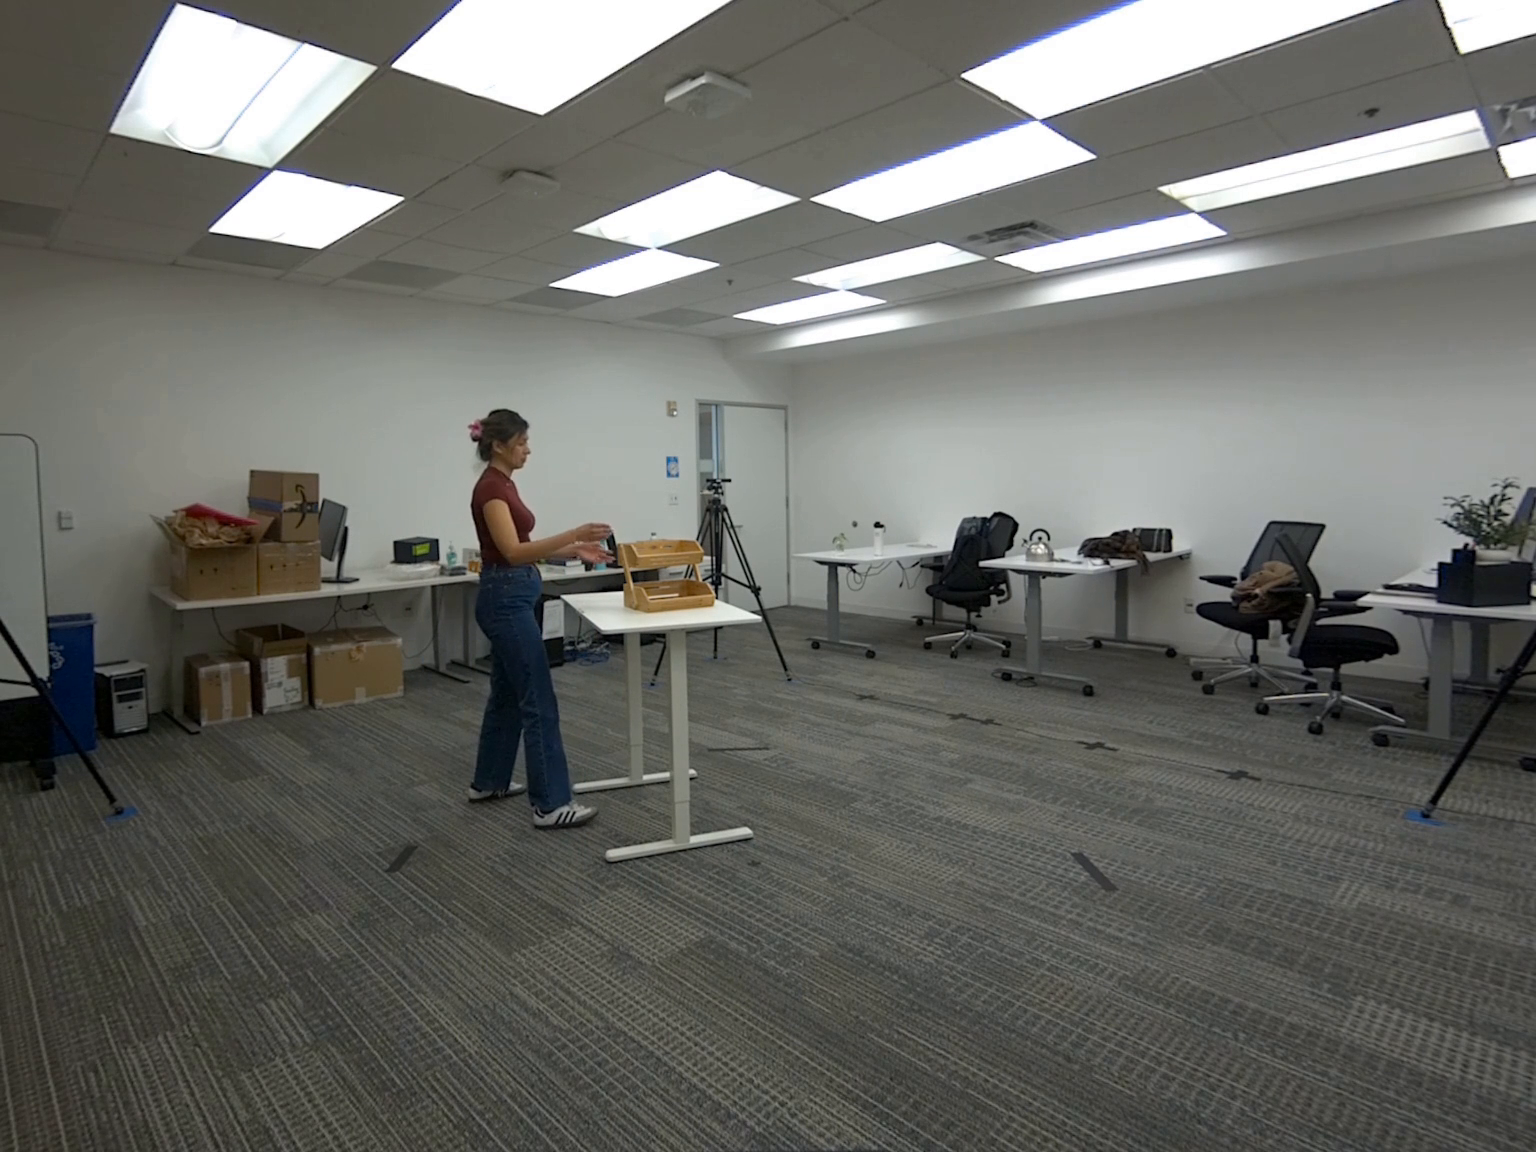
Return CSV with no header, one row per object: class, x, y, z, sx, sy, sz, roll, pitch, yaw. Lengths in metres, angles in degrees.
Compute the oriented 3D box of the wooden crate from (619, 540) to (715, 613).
wooden crate,-0.421,-0.010,3.525,0.317,0.272,0.310,-4,5,-31
